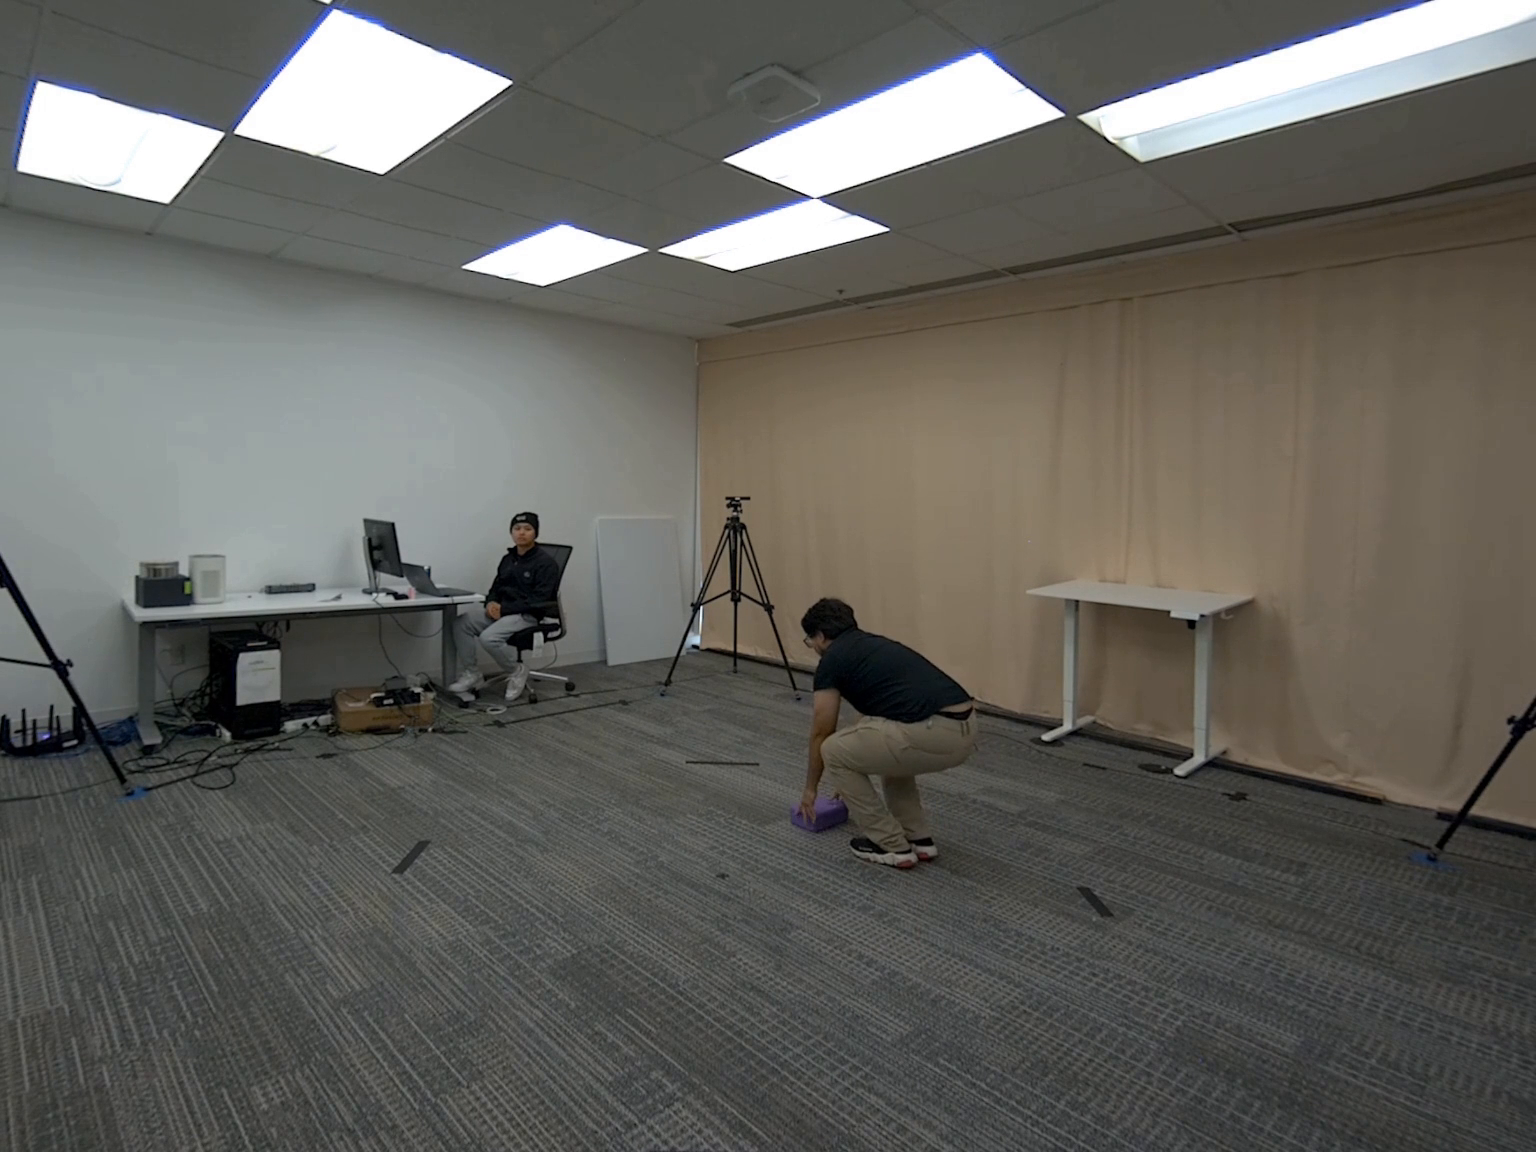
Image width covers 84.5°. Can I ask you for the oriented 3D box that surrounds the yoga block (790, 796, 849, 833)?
[{"bbox_3d":[0.217,1.021,3.648,0.153,0.076,0.224,4,5,44],"label":"yoga block"}]
